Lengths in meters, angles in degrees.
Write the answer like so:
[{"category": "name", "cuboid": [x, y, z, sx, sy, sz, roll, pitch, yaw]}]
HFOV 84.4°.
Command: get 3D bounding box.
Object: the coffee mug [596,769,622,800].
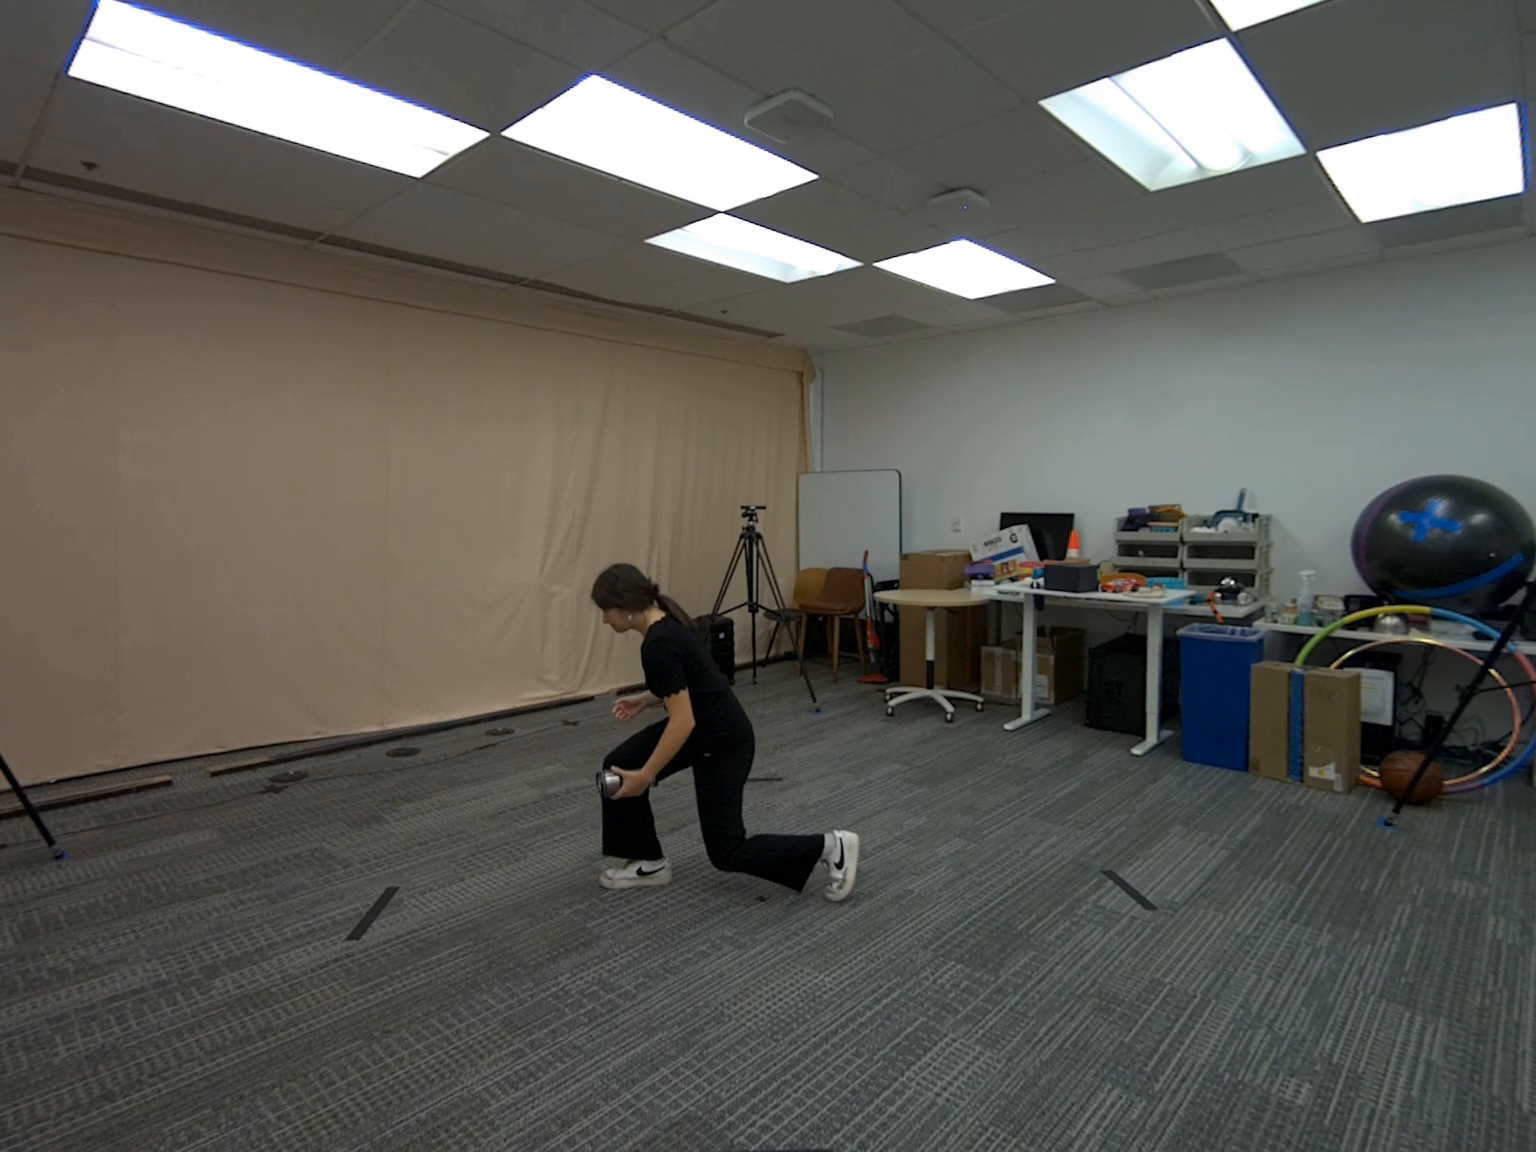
[{"category": "coffee mug", "cuboid": [-0.489, 0.708, 2.920, 0.199, 0.120, 0.091, -5, 37, -20]}]
